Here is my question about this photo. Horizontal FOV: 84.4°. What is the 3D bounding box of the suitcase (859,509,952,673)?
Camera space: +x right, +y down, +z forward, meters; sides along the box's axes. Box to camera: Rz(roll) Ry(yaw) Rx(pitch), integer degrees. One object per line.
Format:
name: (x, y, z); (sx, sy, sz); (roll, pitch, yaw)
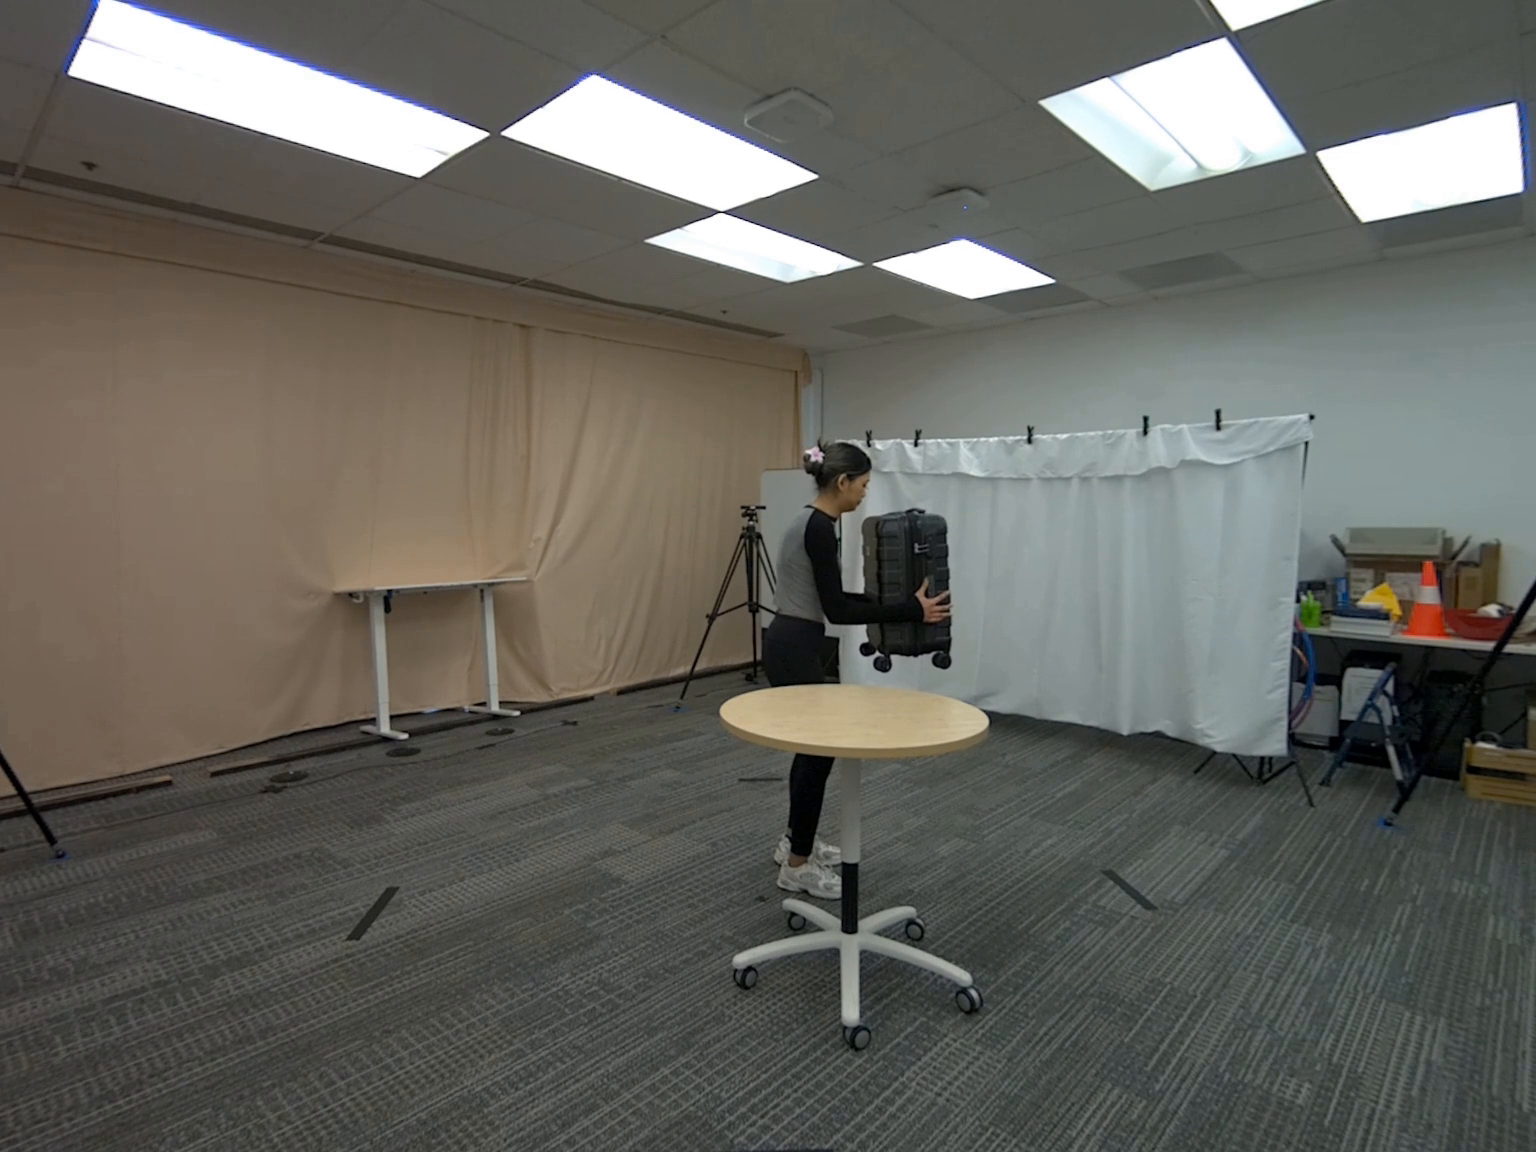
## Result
suitcase: (0.501, 0.034, 3.047); (0.248, 0.548, 0.377); (-3, 4, -3)
